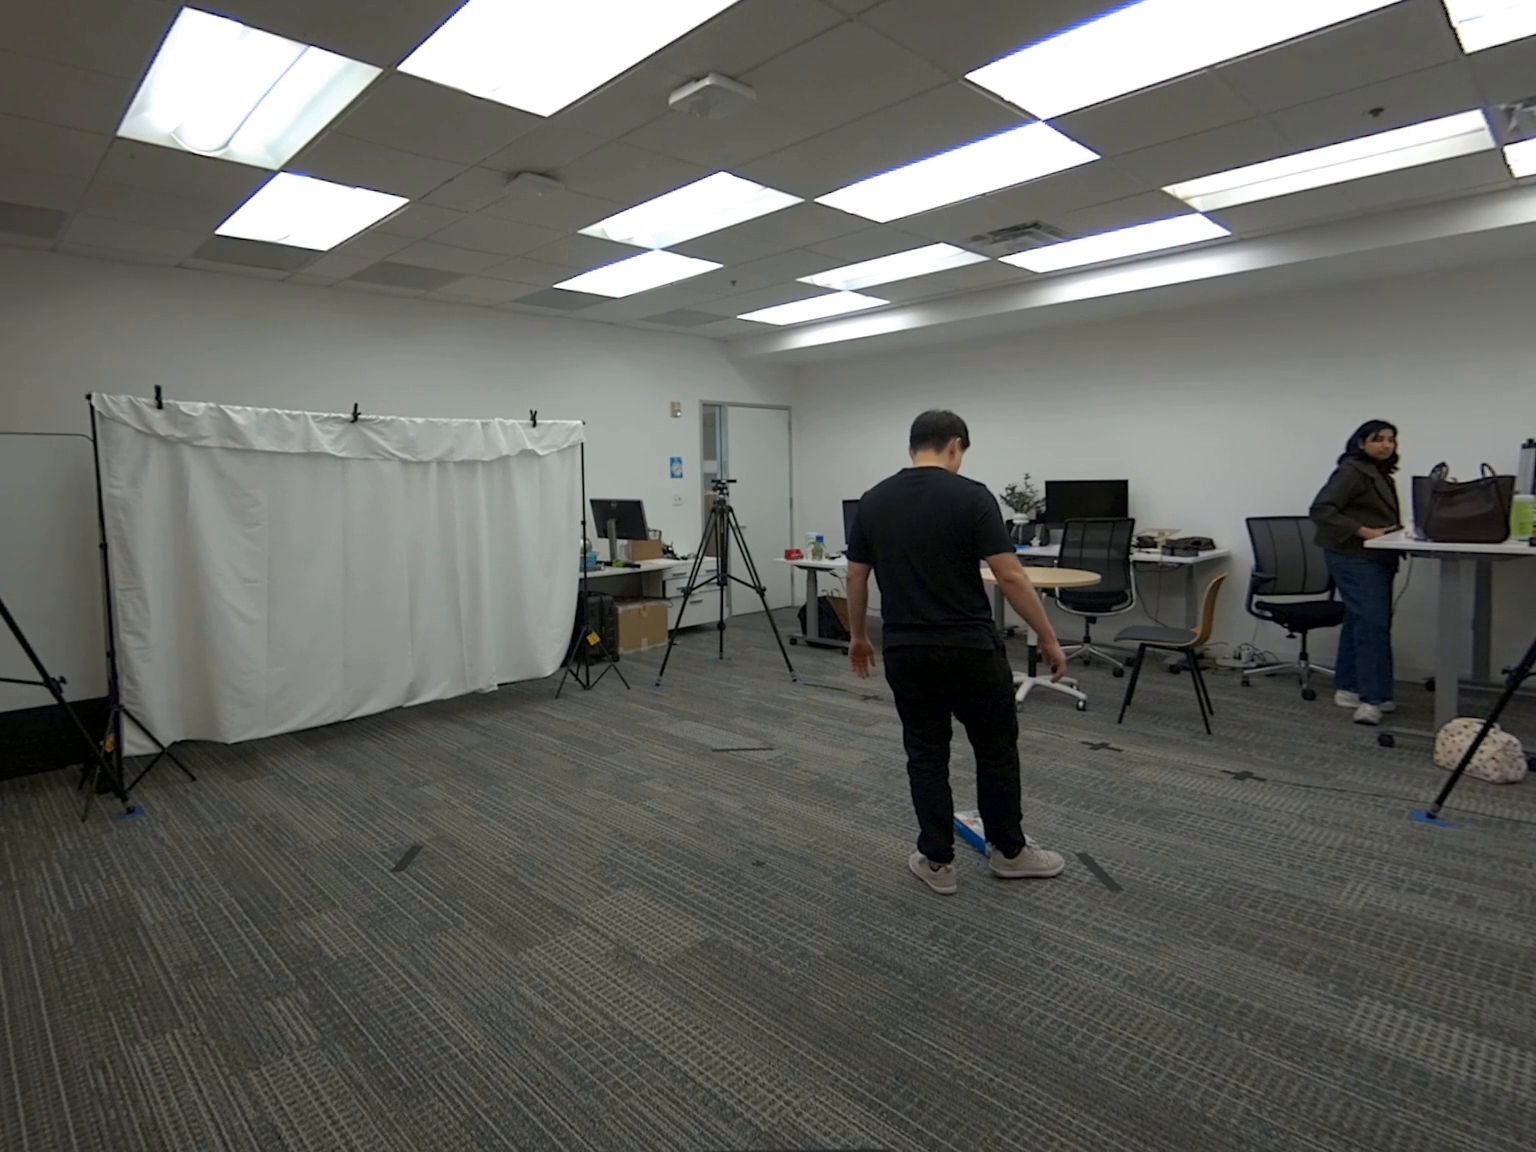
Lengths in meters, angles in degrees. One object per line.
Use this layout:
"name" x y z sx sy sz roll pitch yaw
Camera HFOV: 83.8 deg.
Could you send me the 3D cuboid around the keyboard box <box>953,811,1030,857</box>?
"keyboard box" 0.855 0.987 3.256 0.174 0.059 0.444 -3 6 -14
